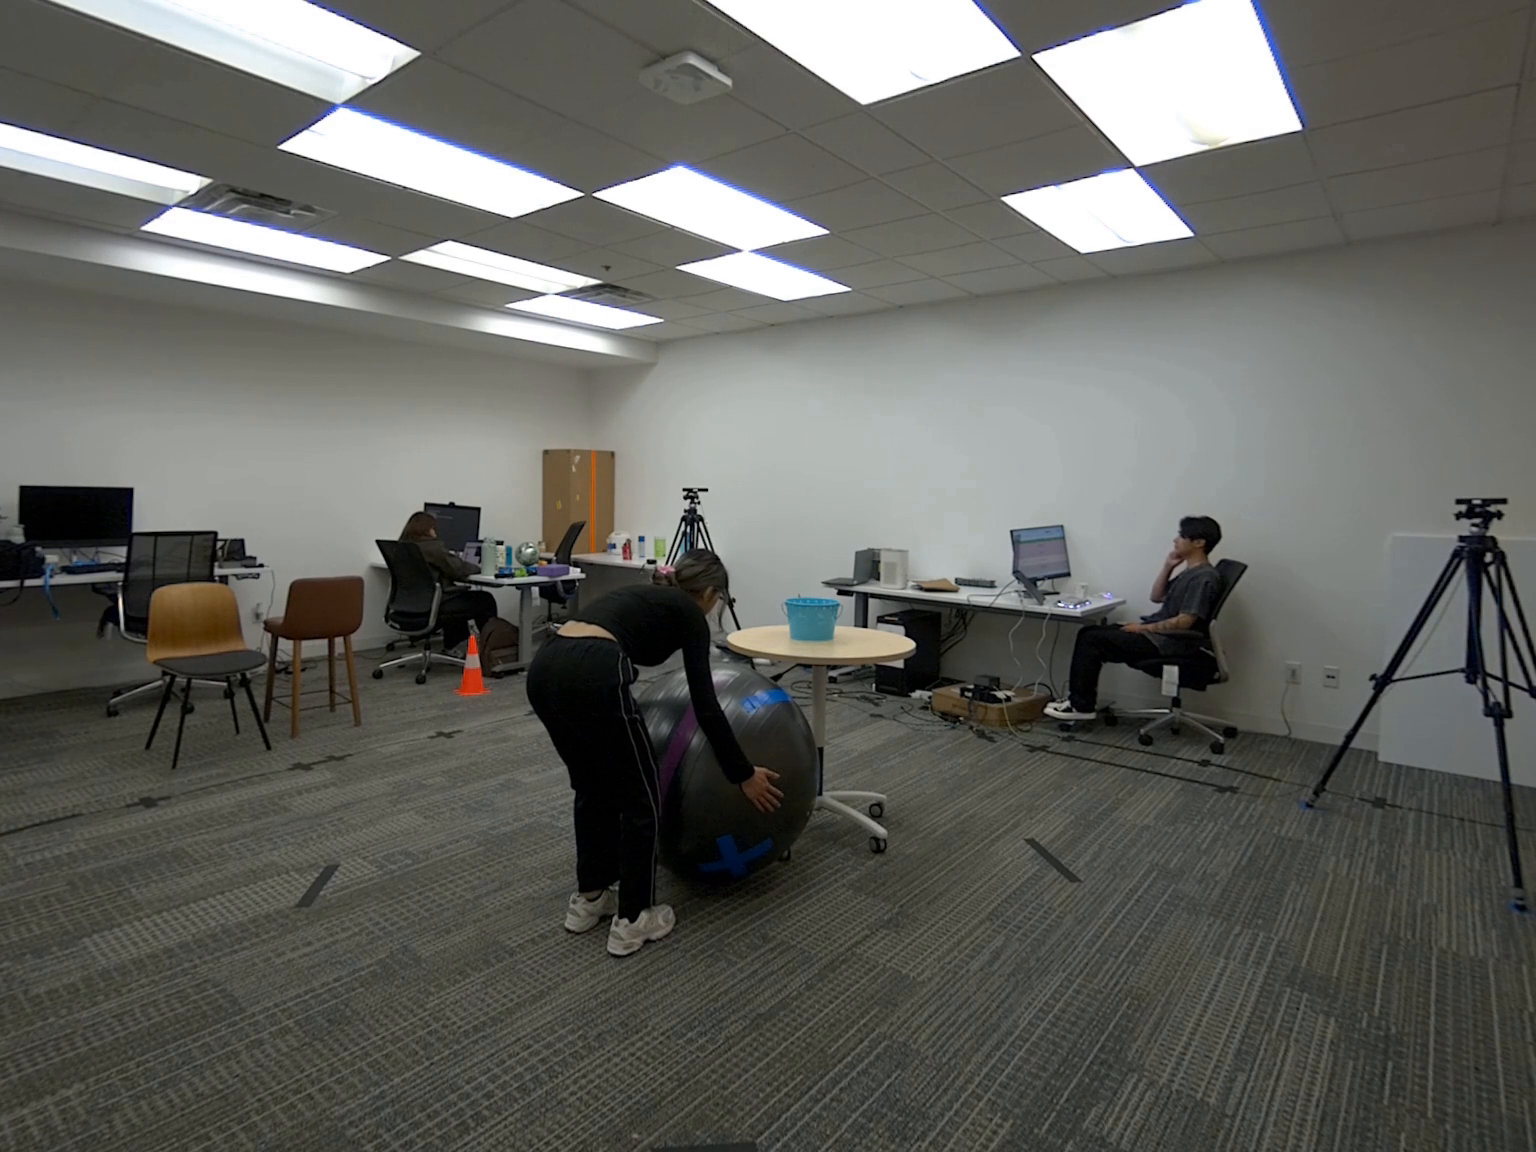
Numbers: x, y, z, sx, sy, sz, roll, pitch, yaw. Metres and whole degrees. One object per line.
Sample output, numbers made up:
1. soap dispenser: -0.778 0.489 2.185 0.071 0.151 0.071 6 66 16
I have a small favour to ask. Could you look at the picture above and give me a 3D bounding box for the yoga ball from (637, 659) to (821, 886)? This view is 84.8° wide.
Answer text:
1. yoga ball: -0.192 0.698 3.071 0.757 0.756 0.762 1 4 -2
